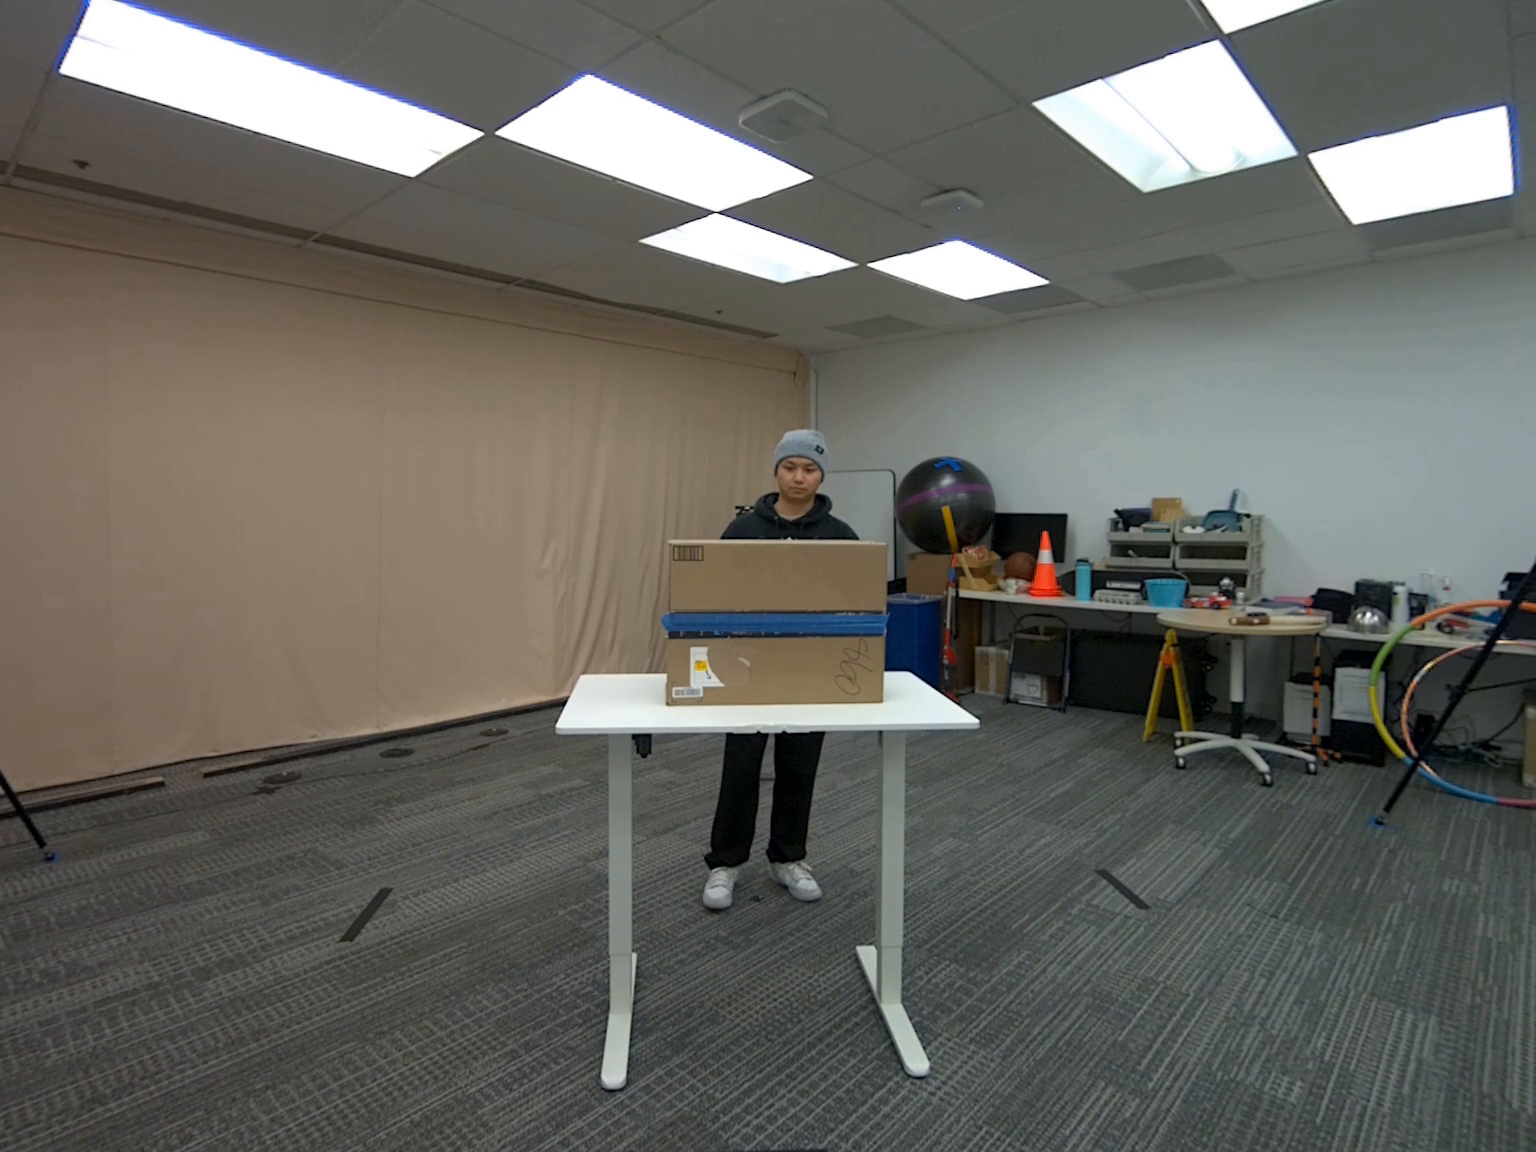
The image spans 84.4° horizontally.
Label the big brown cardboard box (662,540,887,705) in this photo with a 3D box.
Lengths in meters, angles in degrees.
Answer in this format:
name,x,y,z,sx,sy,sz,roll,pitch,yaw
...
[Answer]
name,x,y,z,sx,sy,sz,roll,pitch,yaw
big brown cardboard box,0.010,0.114,2.262,0.586,0.416,0.235,0,4,-5
